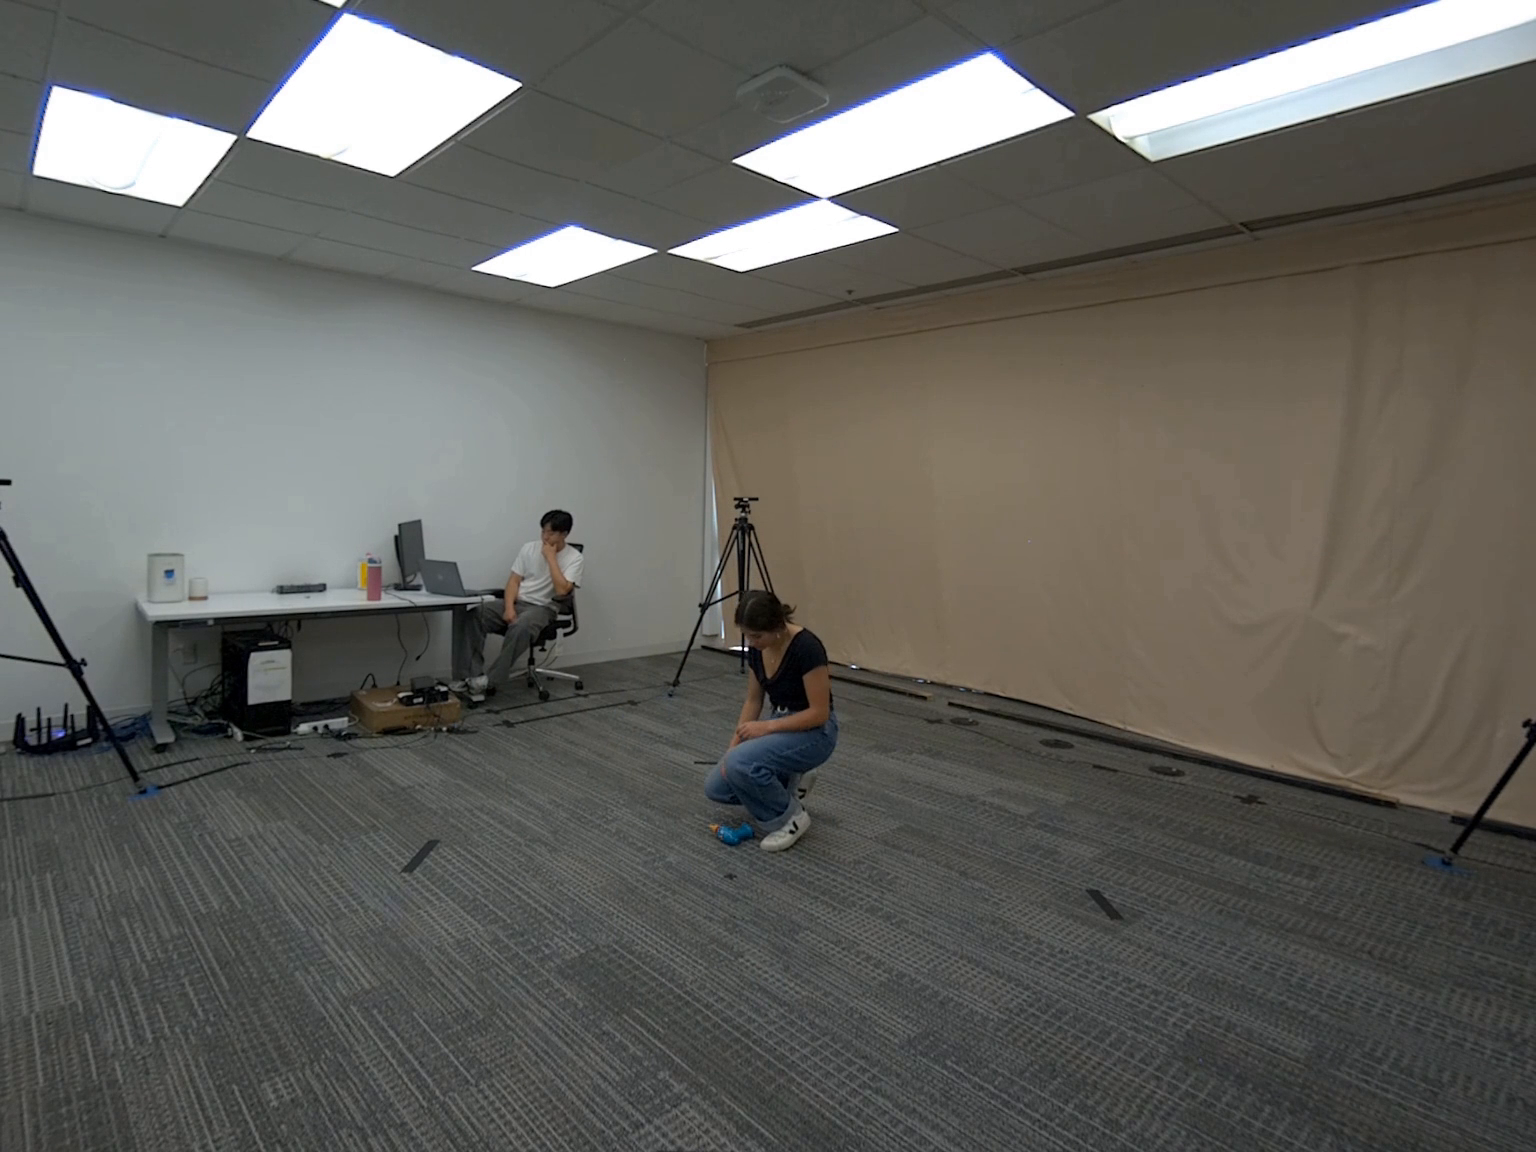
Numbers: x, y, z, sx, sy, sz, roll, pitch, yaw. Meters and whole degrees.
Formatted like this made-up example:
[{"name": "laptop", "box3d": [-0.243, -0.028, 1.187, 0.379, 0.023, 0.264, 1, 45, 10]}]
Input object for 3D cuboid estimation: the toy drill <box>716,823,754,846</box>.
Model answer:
[{"name": "toy drill", "box3d": [-0.163, 1.044, 3.459, 0.174, 0.061, 0.143, 12, 11, 43]}]
